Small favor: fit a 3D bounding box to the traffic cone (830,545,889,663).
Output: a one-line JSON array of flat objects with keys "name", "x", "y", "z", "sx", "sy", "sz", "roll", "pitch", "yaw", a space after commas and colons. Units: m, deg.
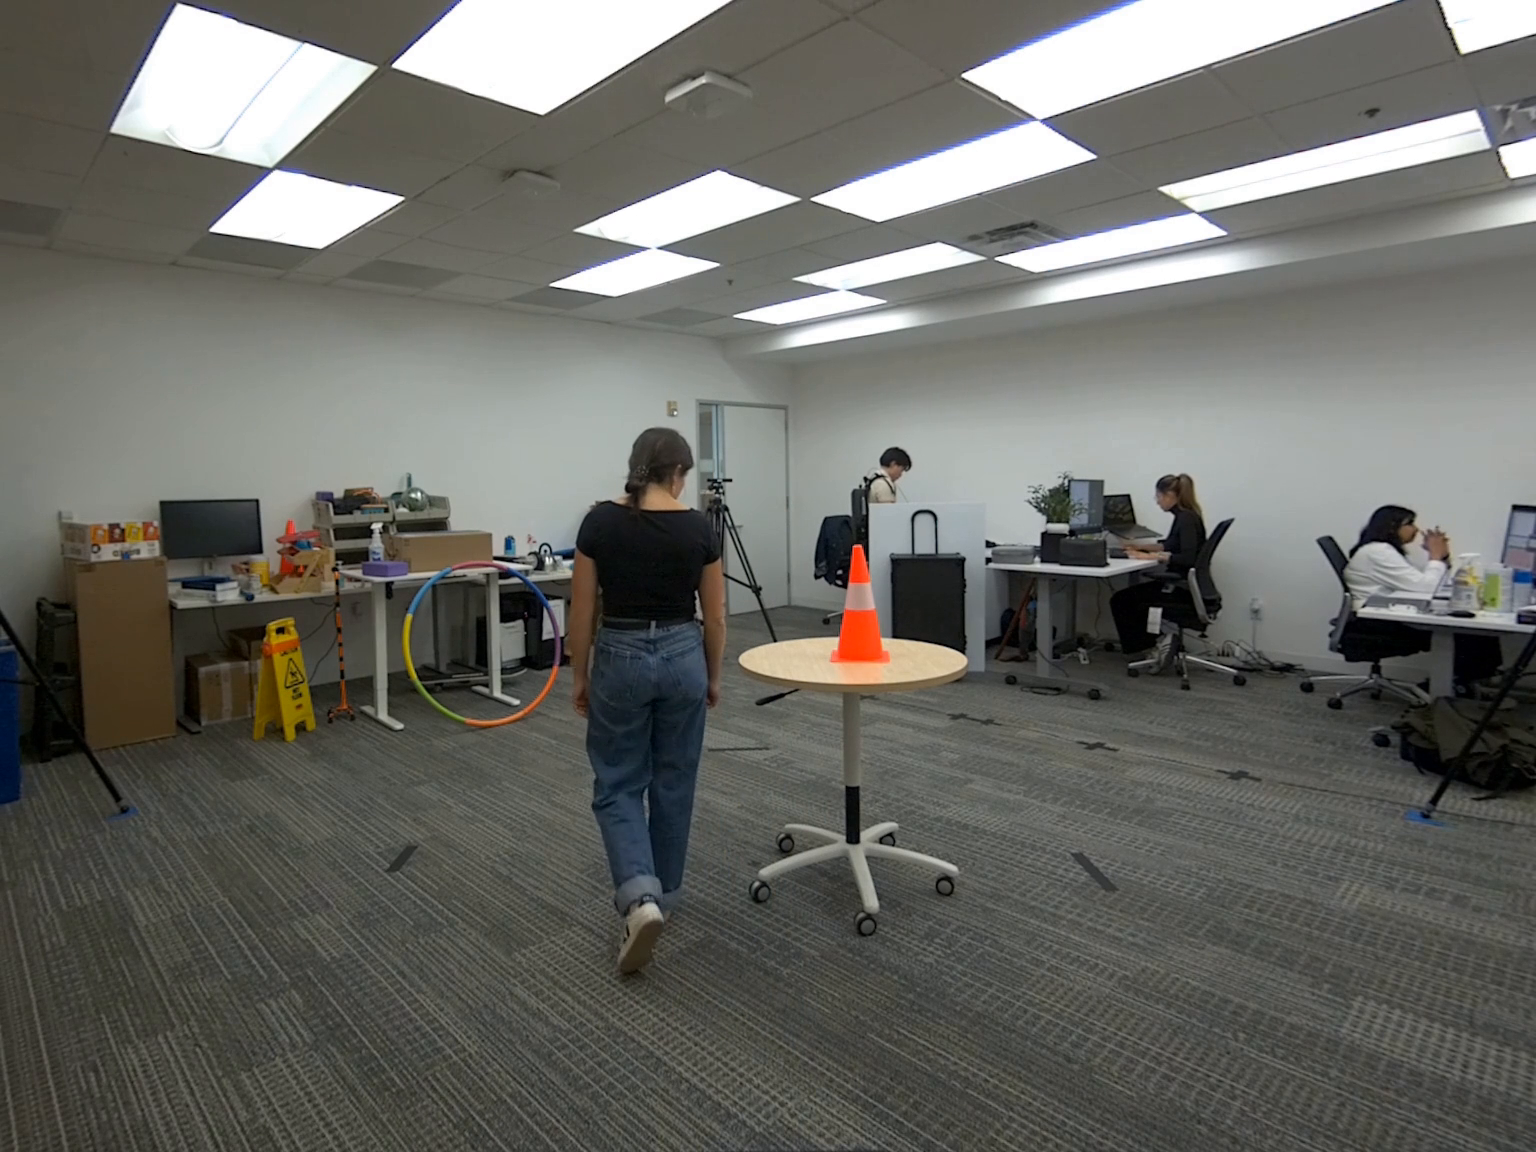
[{"name": "traffic cone", "x": 0.314, "y": 0.092, "z": 2.914, "sx": 0.205, "sy": 0.382, "sz": 0.204, "roll": -1, "pitch": 4, "yaw": 6}]
